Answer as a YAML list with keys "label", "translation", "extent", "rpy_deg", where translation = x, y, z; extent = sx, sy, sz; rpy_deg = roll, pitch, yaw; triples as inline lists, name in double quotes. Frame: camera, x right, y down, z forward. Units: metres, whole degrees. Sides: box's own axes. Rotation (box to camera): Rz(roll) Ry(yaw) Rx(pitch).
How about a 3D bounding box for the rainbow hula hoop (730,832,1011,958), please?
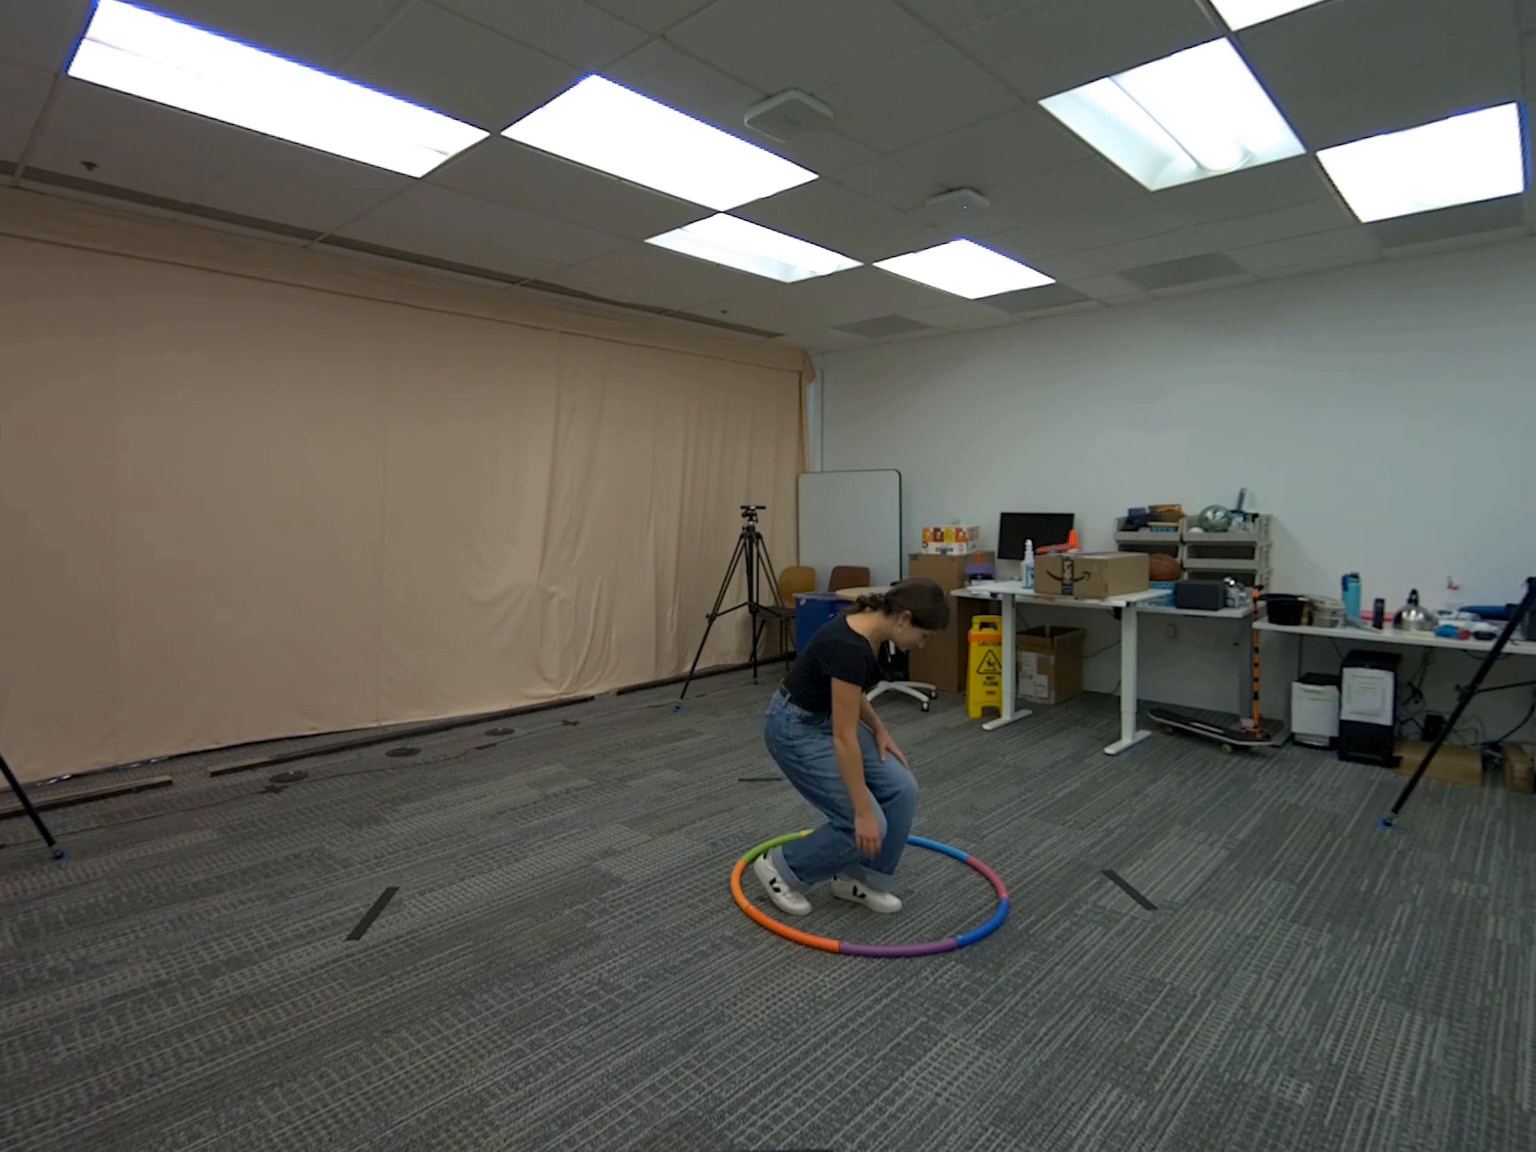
- label: "rainbow hula hoop"
  translation: [0.362, 1.105, 3.072]
  extent: [0.978, 0.035, 0.982]
  rpy_deg: [-1, 5, -2]
